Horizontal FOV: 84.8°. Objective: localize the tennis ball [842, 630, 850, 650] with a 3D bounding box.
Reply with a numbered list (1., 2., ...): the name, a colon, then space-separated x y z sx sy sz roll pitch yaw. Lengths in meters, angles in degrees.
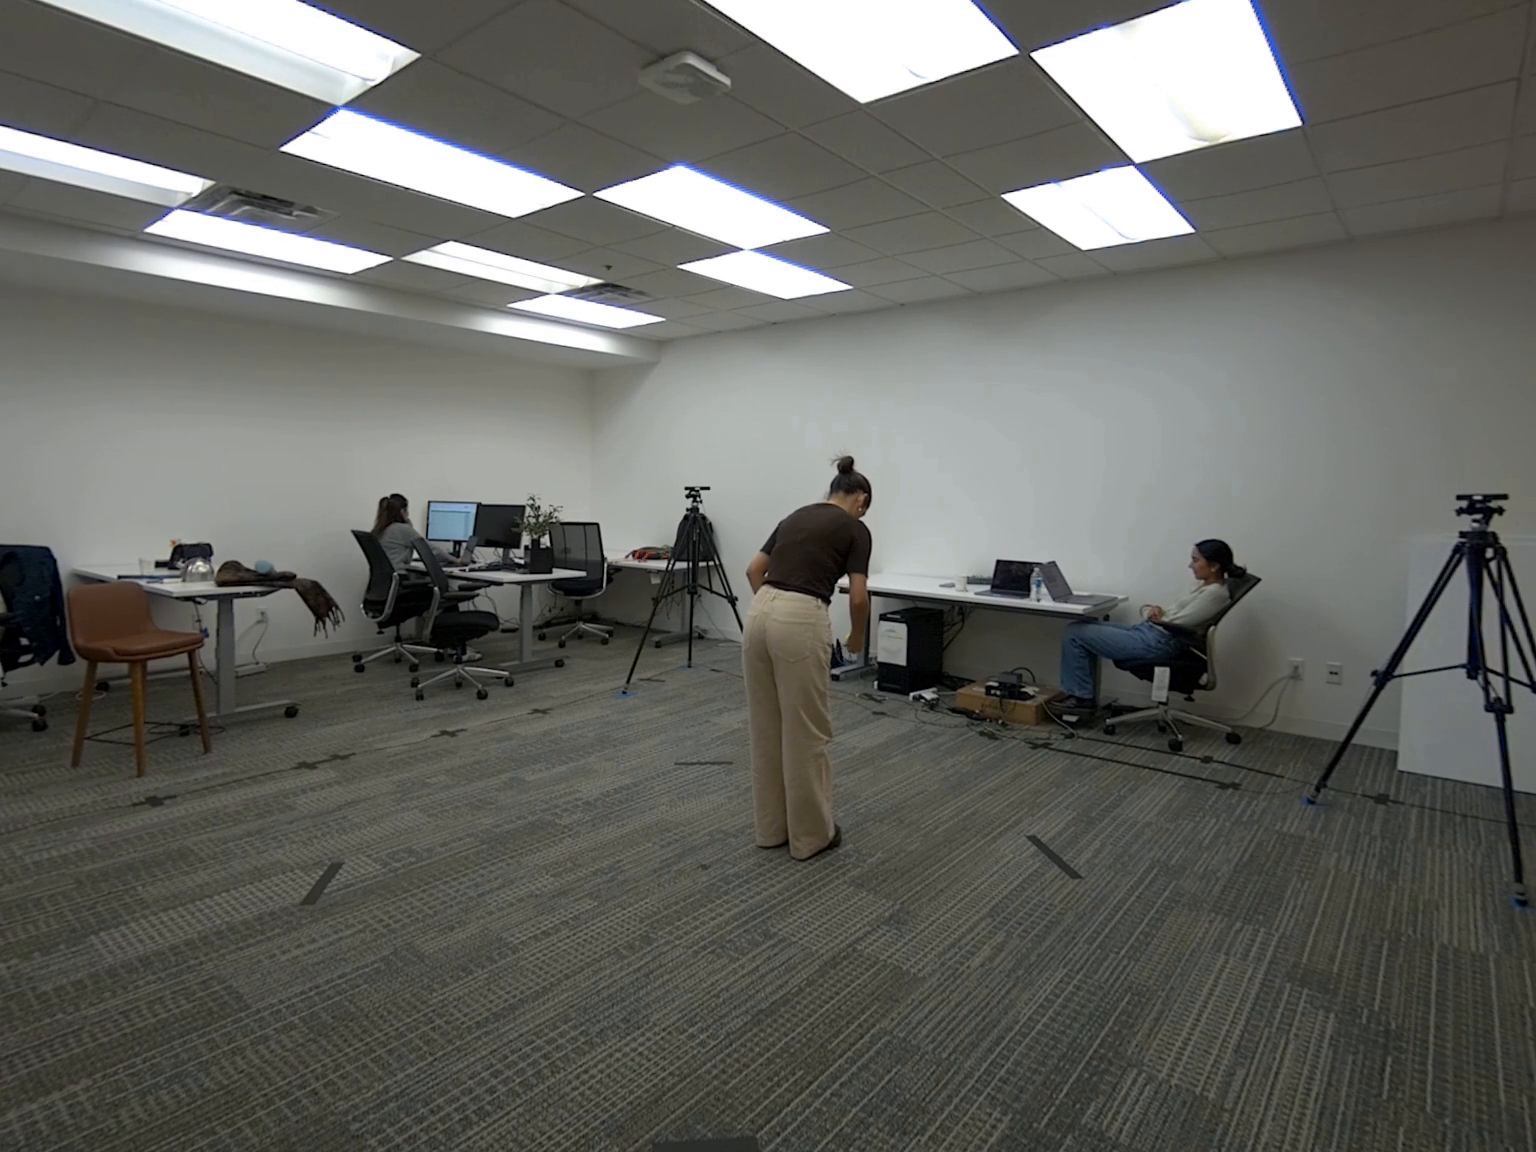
1. tennis ball: 0.338 0.257 3.419 0.066 0.066 0.067 1 4 -2
